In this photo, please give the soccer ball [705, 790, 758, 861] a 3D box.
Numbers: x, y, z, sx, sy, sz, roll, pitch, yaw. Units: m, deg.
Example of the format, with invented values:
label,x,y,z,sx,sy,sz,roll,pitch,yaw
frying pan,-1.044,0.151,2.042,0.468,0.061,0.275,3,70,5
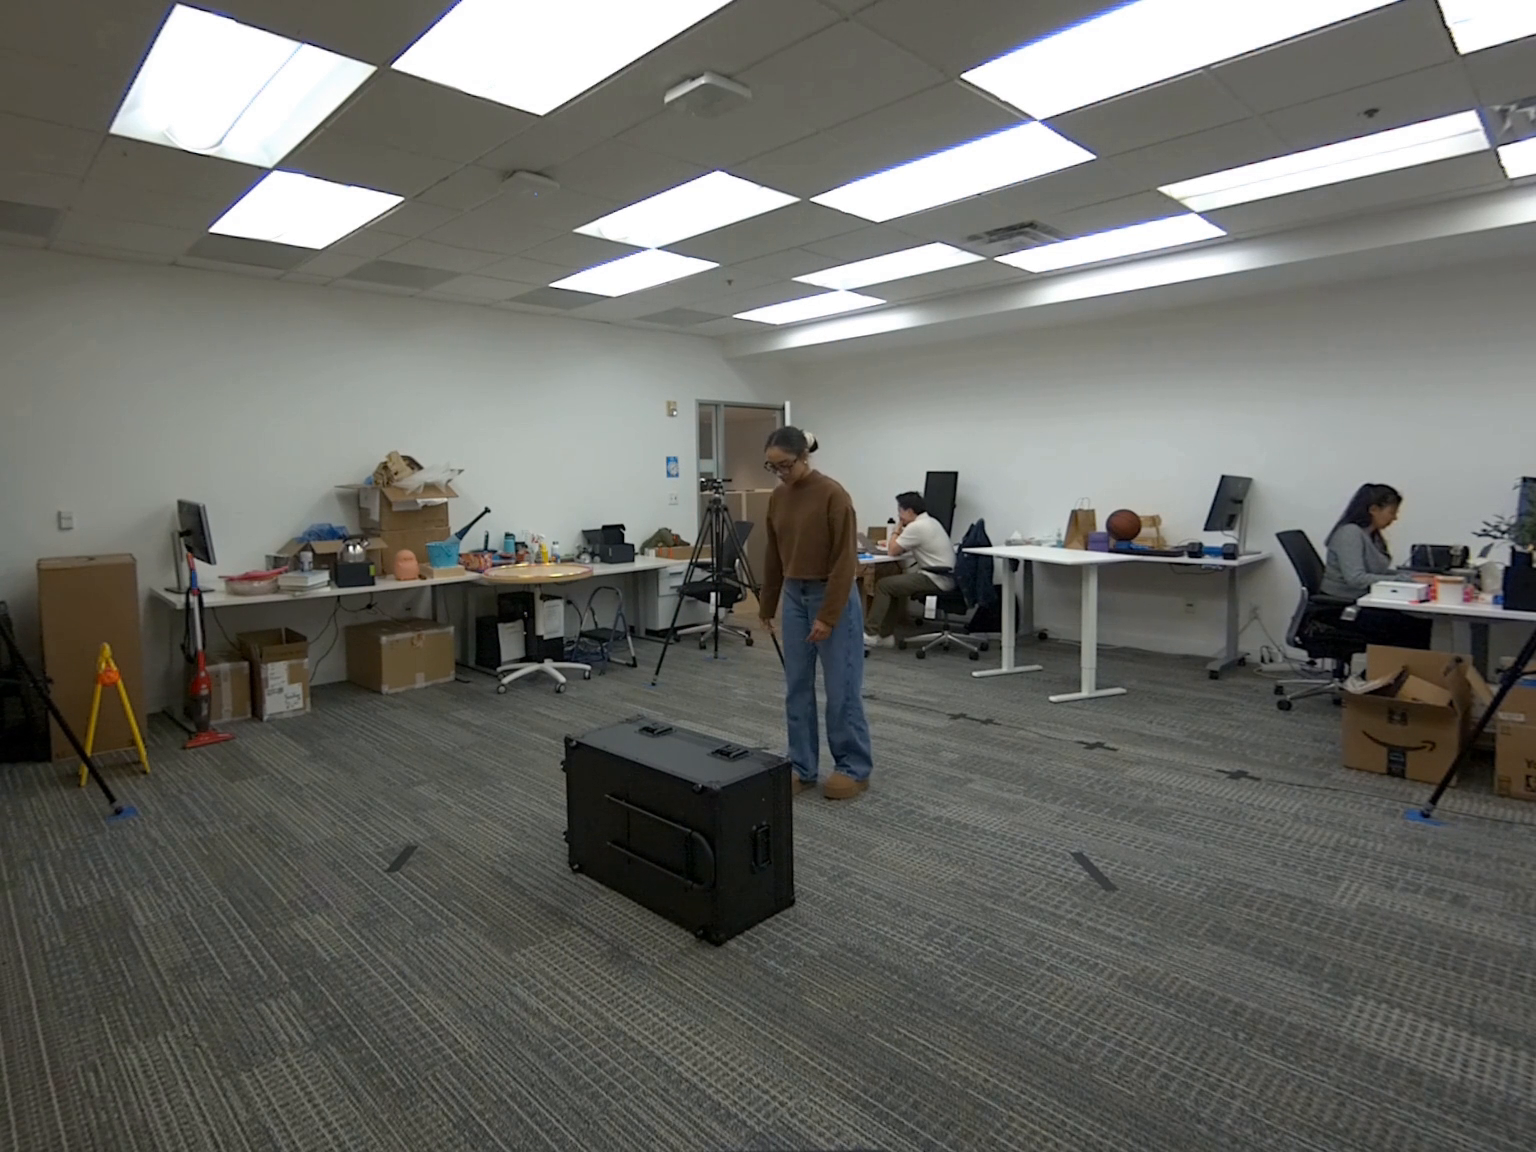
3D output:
label,x,y,z,sx,sy,sz,roll,pitch,yaw
soccer ball,-0.141,0.929,3.212,0.187,0.187,0.188,-1,5,-2
